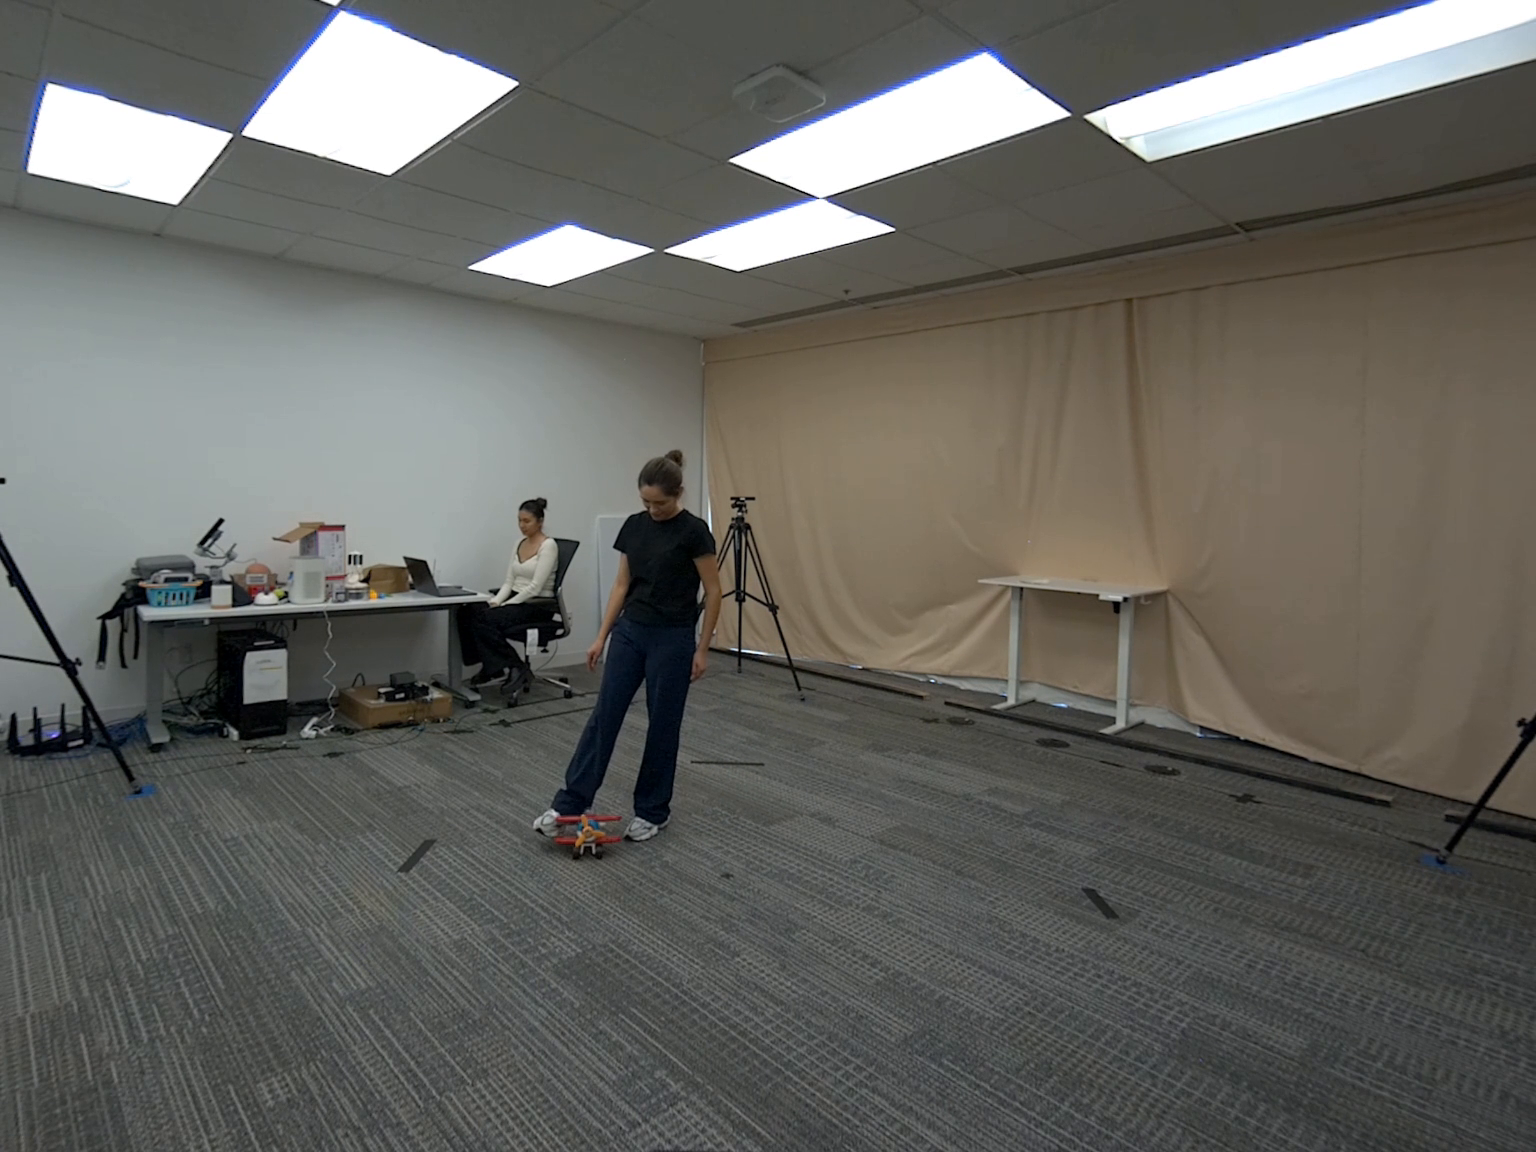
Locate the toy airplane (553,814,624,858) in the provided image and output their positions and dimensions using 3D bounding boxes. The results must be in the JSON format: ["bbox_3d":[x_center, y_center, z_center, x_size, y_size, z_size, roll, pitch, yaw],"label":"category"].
[{"bbox_3d":[-0.726,1.007,3.283,0.246,0.156,0.265,-2,6,-35],"label":"toy airplane"}]
